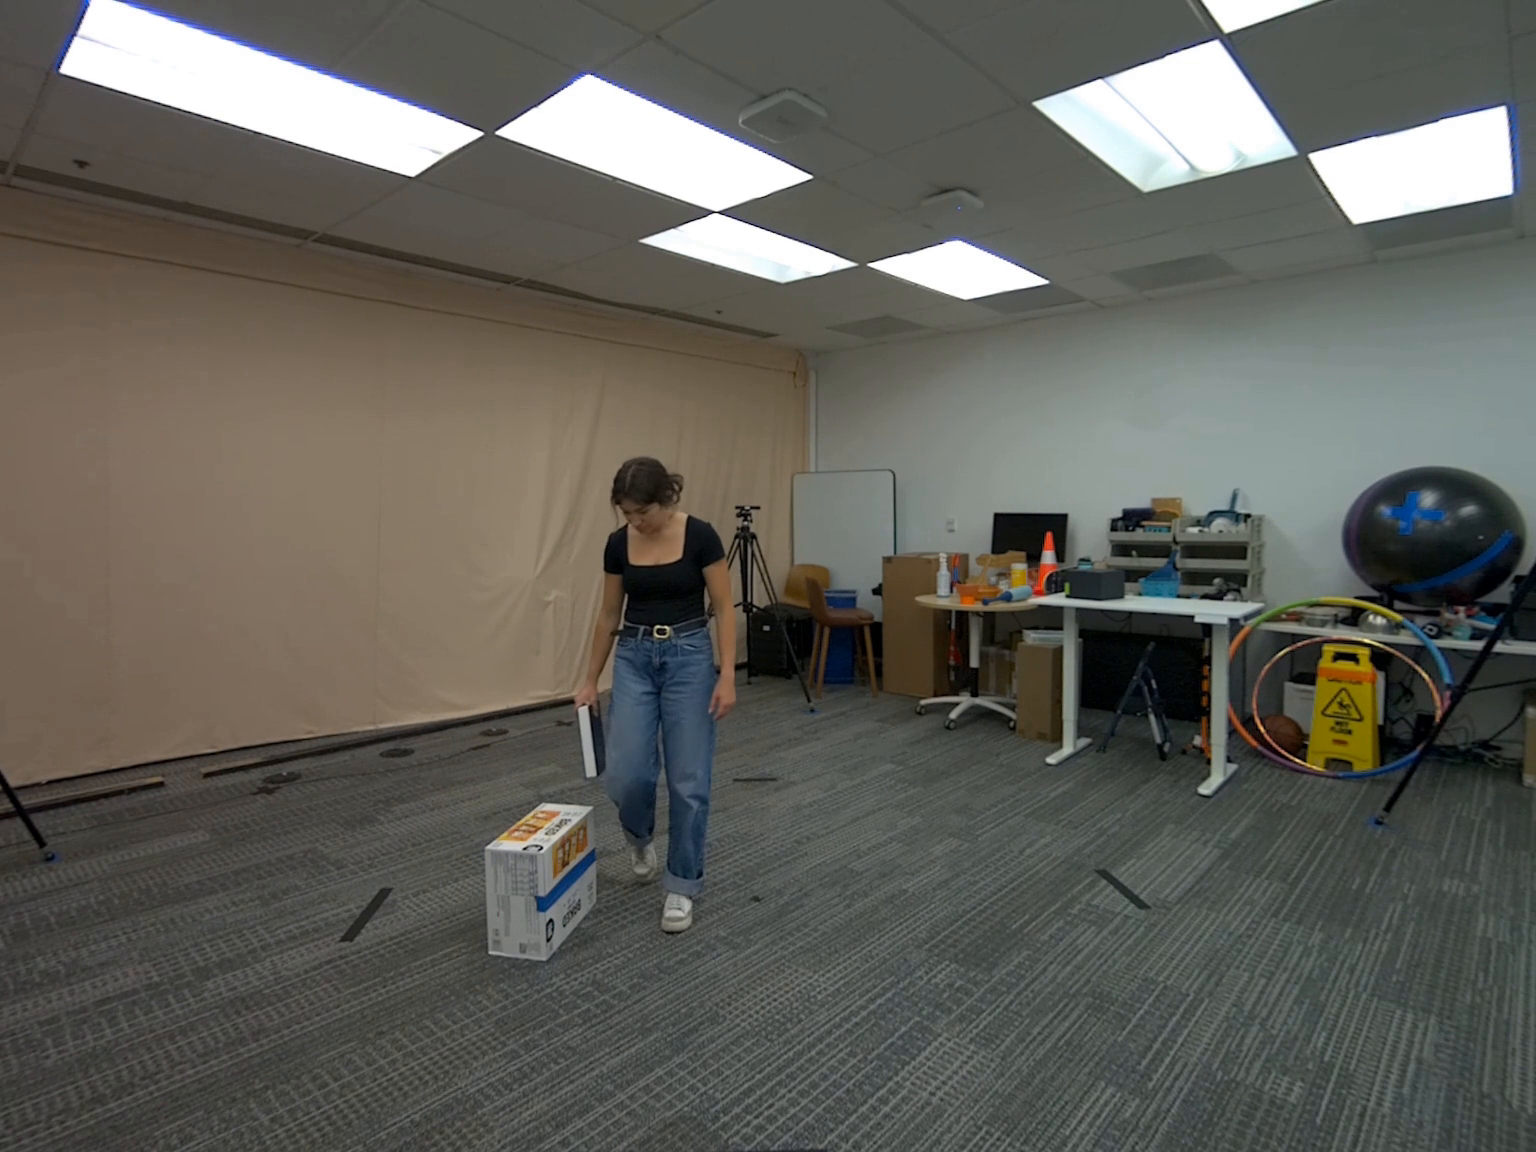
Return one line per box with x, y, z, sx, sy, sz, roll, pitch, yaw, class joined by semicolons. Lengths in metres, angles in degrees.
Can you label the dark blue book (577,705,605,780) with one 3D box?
-0.618;0.575;2.955;0.045;0.245;0.162;-8;-1;2;dark blue book
